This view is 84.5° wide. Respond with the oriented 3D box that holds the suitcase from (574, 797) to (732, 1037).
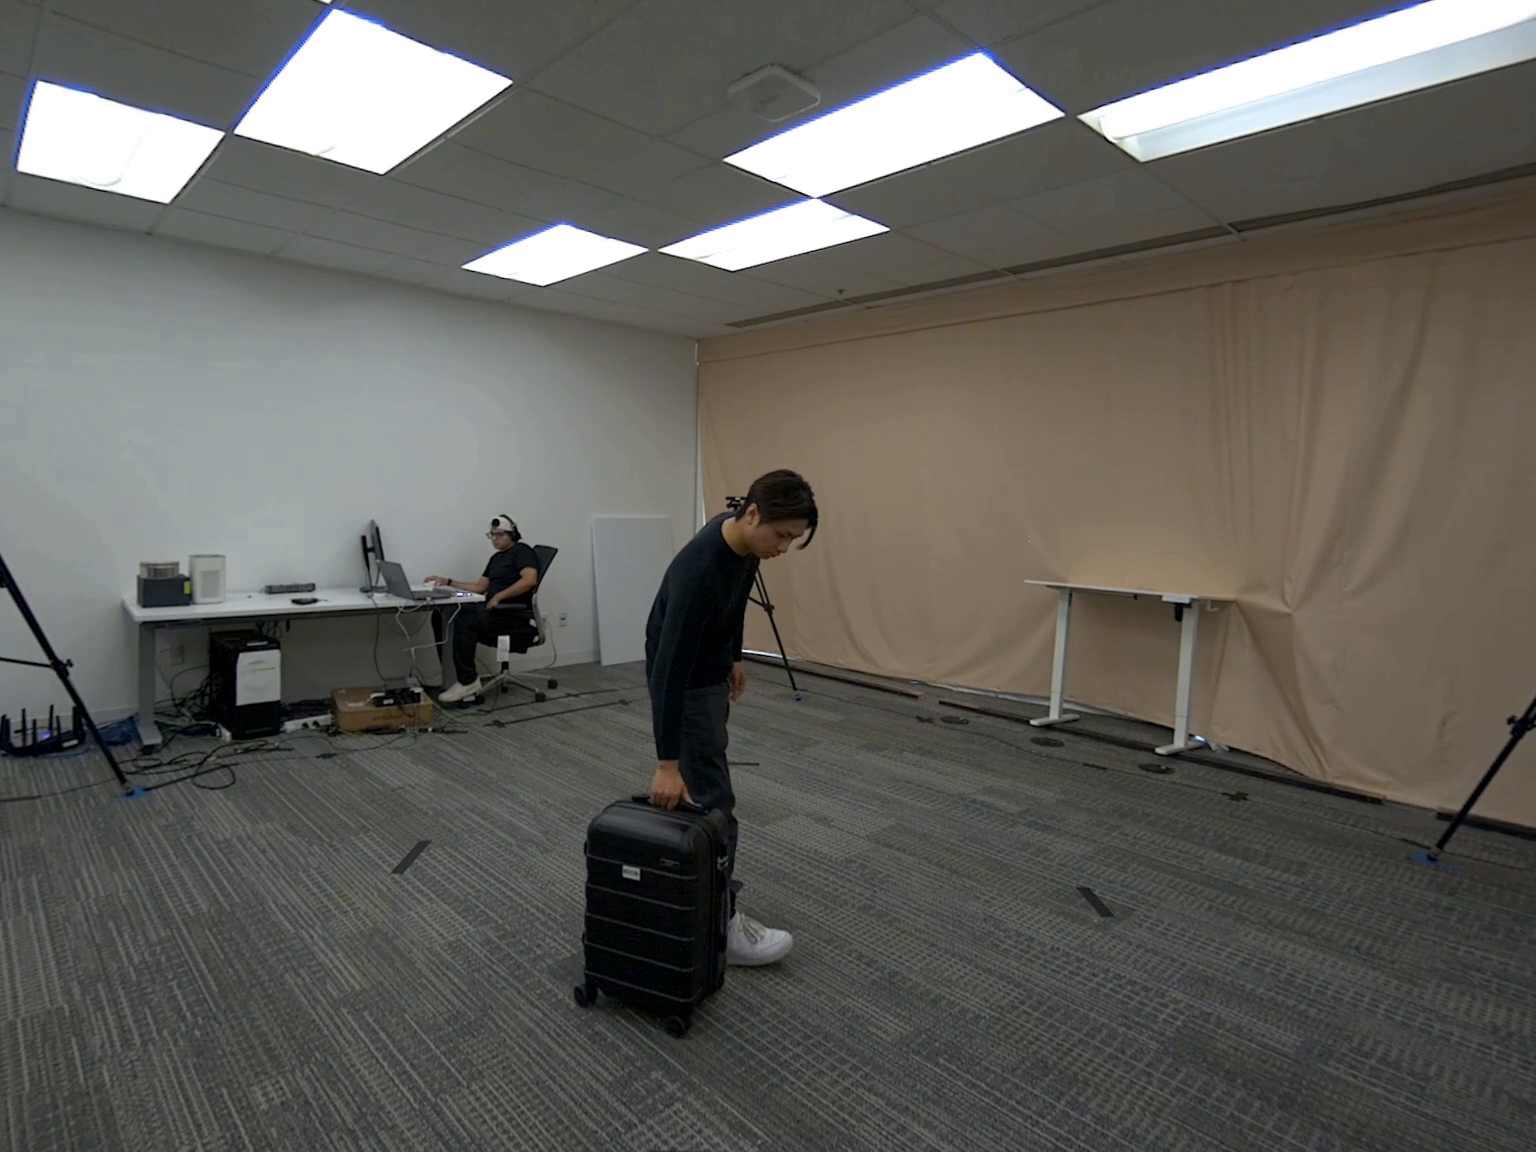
[{"bbox_3d":[-0.313,0.902,2.305,0.382,0.547,0.244,5,5,23],"label":"suitcase"}]
